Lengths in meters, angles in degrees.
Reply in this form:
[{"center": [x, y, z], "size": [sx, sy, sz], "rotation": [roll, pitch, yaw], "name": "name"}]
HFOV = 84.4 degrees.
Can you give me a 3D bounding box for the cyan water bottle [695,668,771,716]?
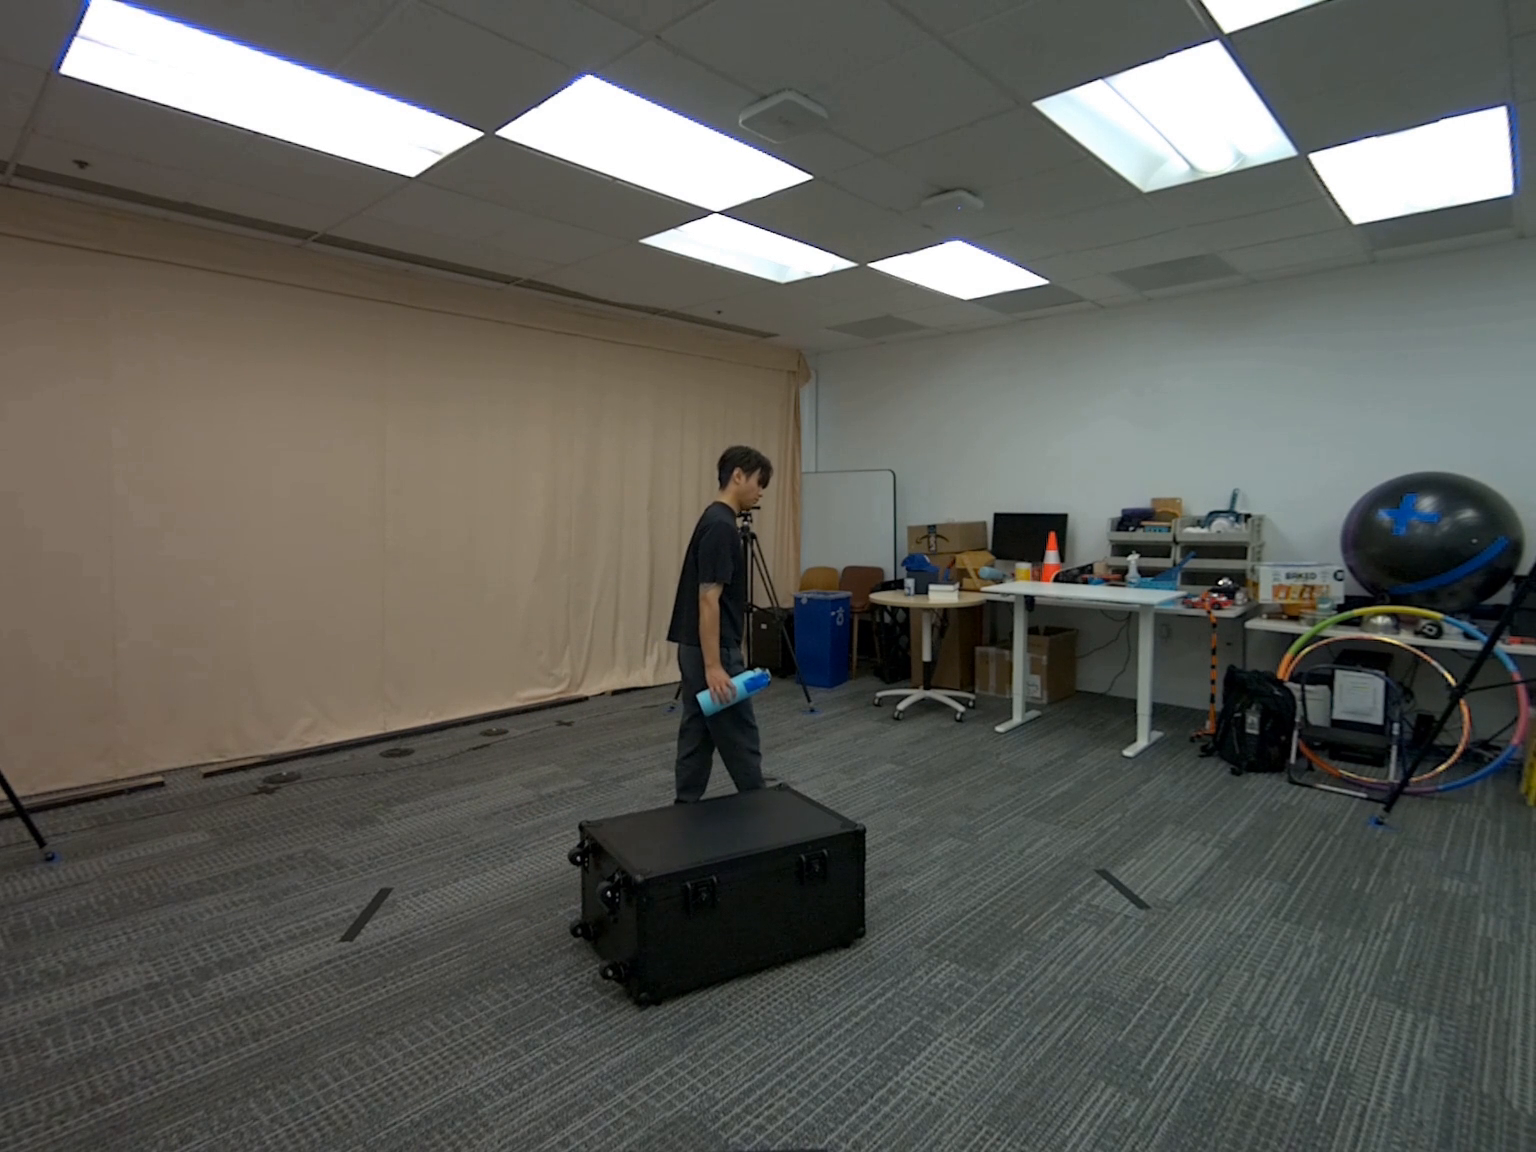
[{"center": [-0.118, 0.421, 3.117], "size": [0.283, 0.092, 0.093], "rotation": [-22, 6, -3], "name": "cyan water bottle"}]
